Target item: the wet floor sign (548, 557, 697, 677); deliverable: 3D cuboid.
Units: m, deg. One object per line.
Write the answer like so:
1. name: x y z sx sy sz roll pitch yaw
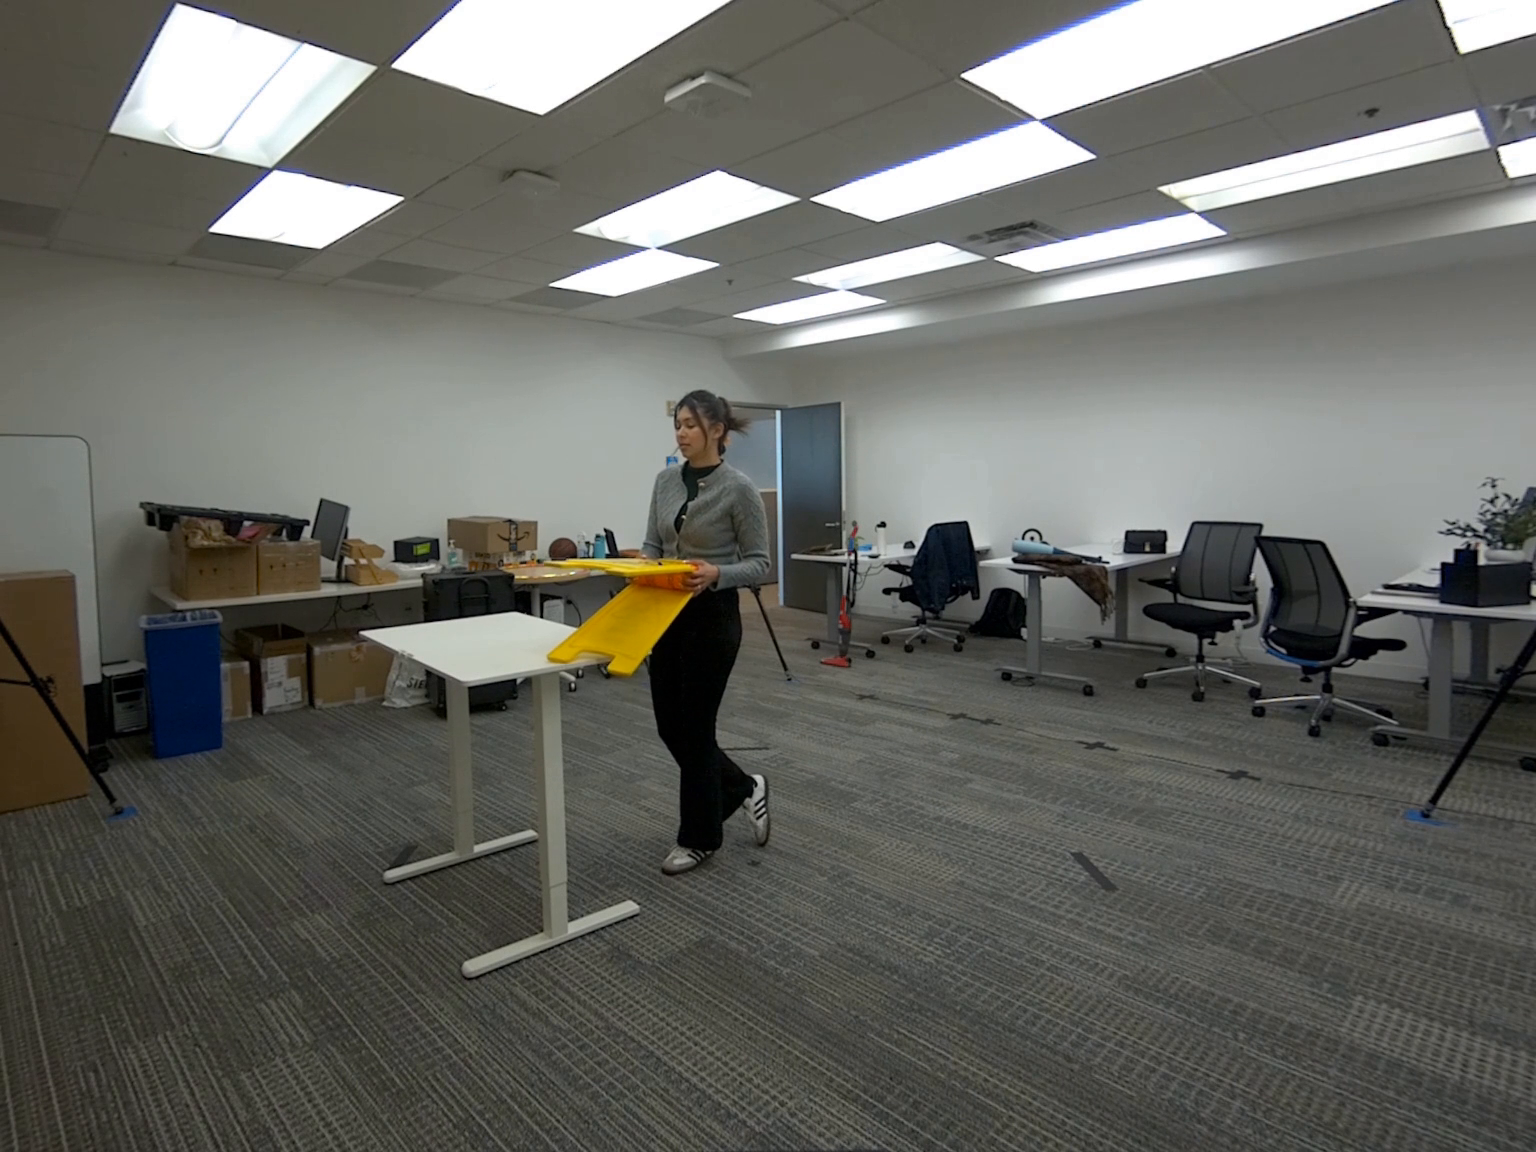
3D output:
1. wet floor sign: -0.384 0.043 2.666 0.288 0.286 0.640 6 16 20
